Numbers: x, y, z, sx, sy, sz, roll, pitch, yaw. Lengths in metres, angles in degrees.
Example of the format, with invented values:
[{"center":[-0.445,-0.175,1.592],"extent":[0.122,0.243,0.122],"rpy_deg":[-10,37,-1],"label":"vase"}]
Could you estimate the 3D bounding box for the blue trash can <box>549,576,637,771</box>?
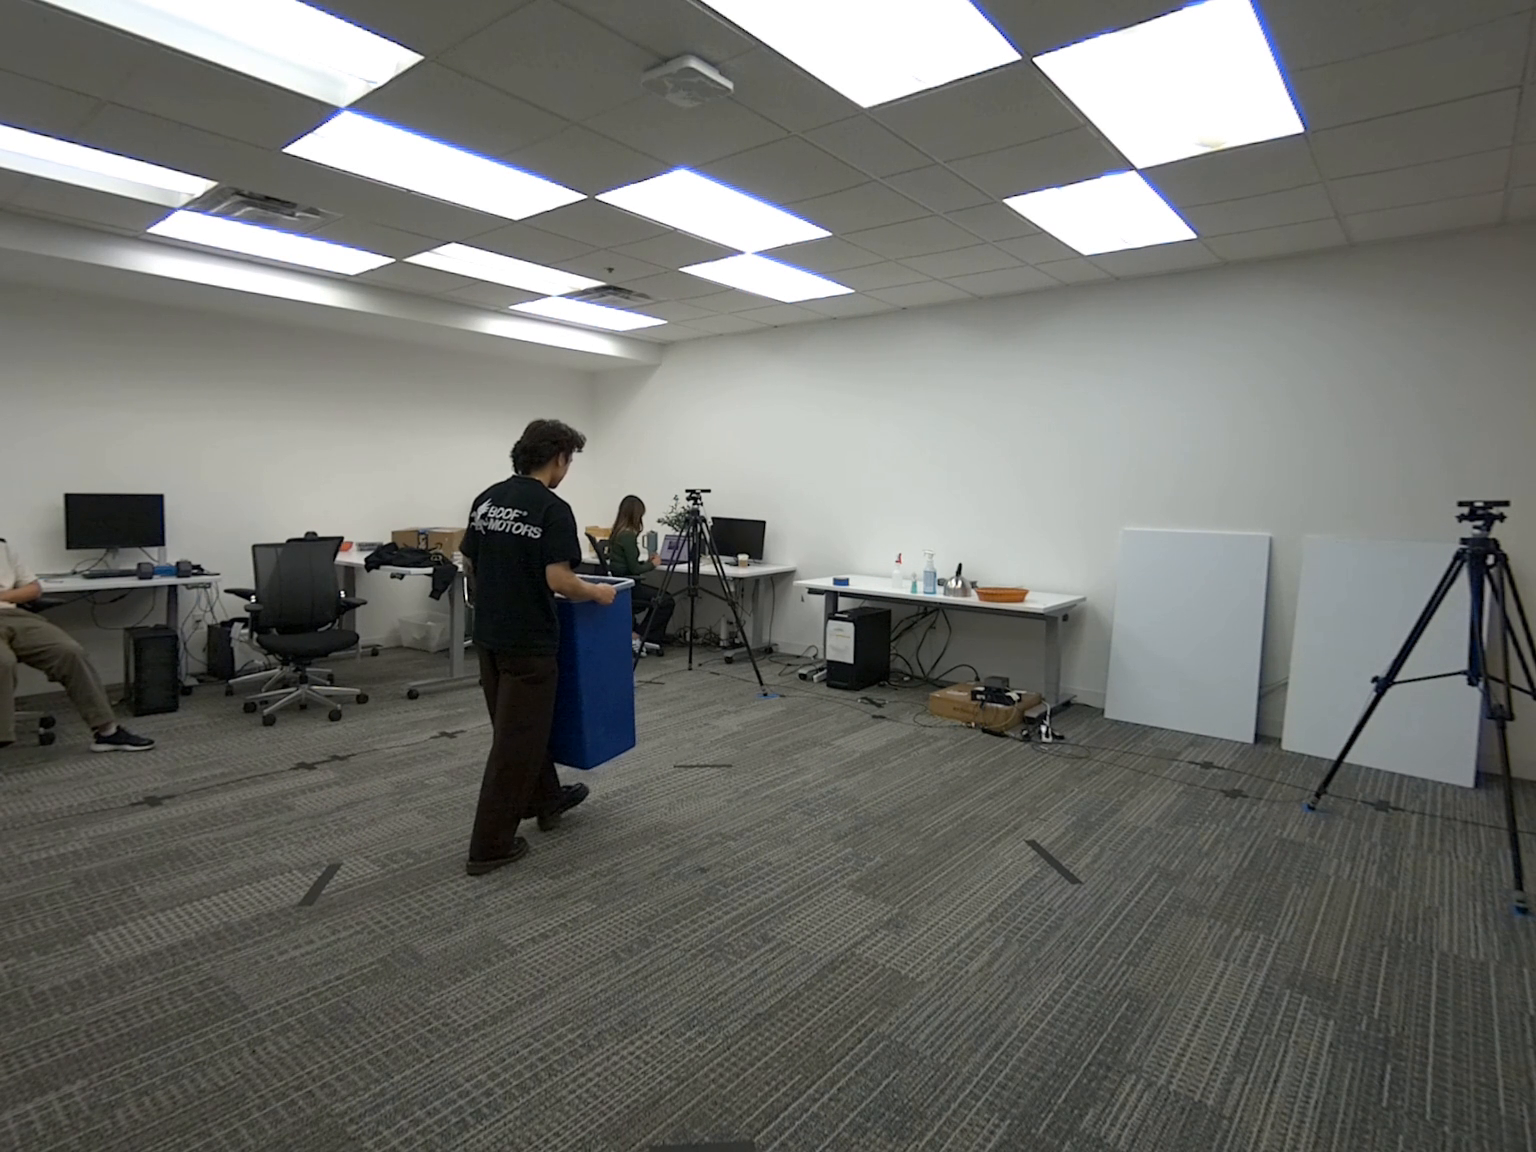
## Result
[{"center":[-0.783,0.389,3.520],"extent":[0.385,0.708,0.369],"rpy_deg":[2,9,34],"label":"blue trash can"}]
